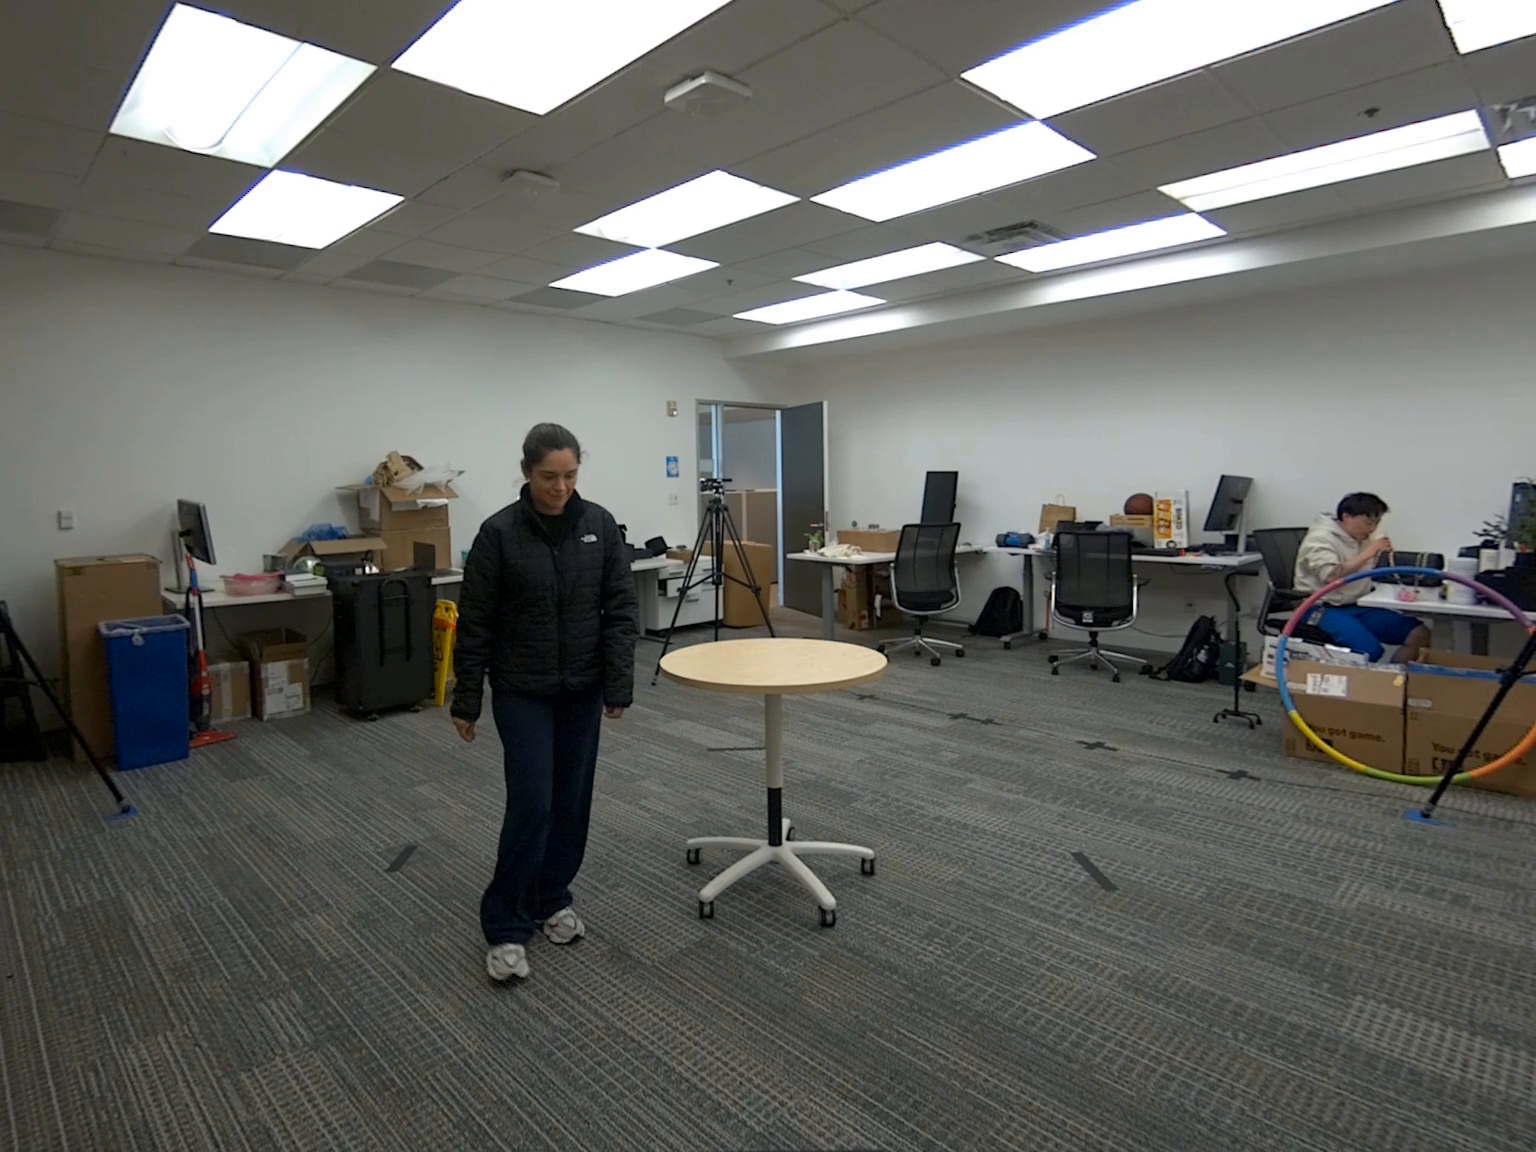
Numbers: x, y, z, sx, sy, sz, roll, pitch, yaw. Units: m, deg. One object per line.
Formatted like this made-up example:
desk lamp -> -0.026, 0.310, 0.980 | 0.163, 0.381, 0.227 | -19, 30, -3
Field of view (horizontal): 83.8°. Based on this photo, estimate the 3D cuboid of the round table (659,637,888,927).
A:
round table -> 0.011, 0.670, 2.938 | 0.784, 0.784, 0.789 | -1, 5, -2
